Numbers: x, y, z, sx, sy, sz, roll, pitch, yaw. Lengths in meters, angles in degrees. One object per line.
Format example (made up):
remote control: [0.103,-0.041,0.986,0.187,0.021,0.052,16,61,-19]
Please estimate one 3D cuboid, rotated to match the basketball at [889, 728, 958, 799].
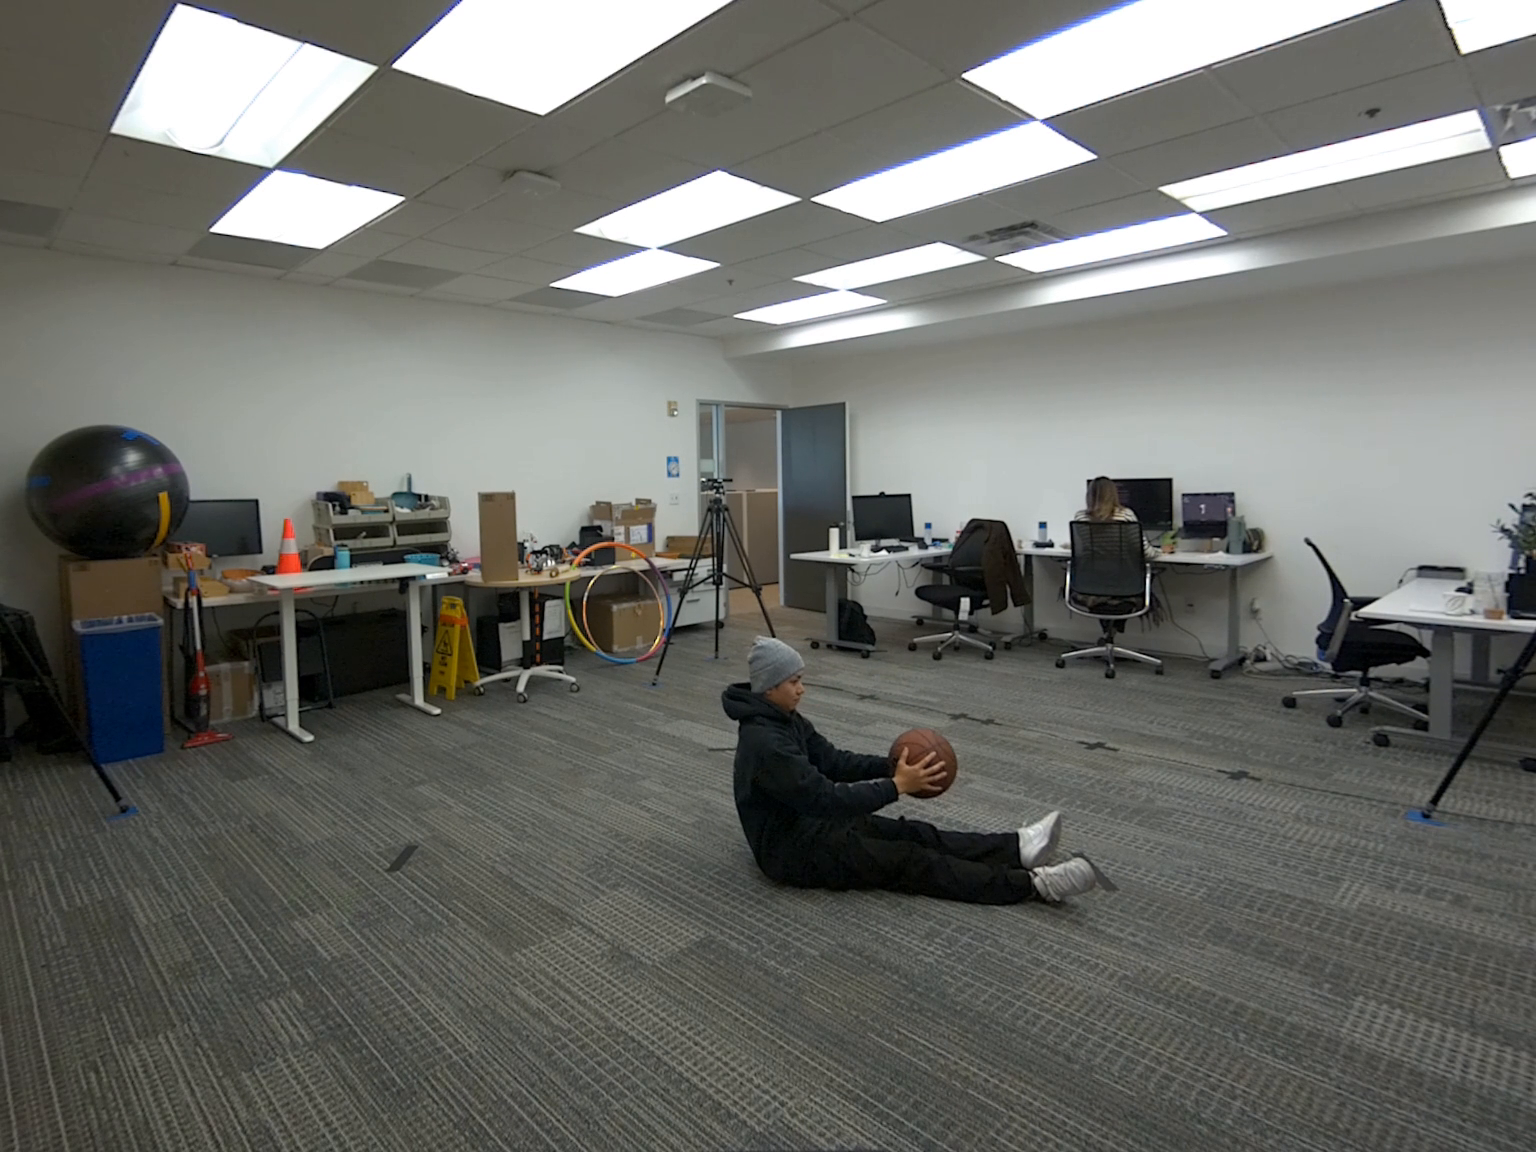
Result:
basketball: [0.534,0.654,2.987,0.236,0.235,0.237,-1,5,-2]
